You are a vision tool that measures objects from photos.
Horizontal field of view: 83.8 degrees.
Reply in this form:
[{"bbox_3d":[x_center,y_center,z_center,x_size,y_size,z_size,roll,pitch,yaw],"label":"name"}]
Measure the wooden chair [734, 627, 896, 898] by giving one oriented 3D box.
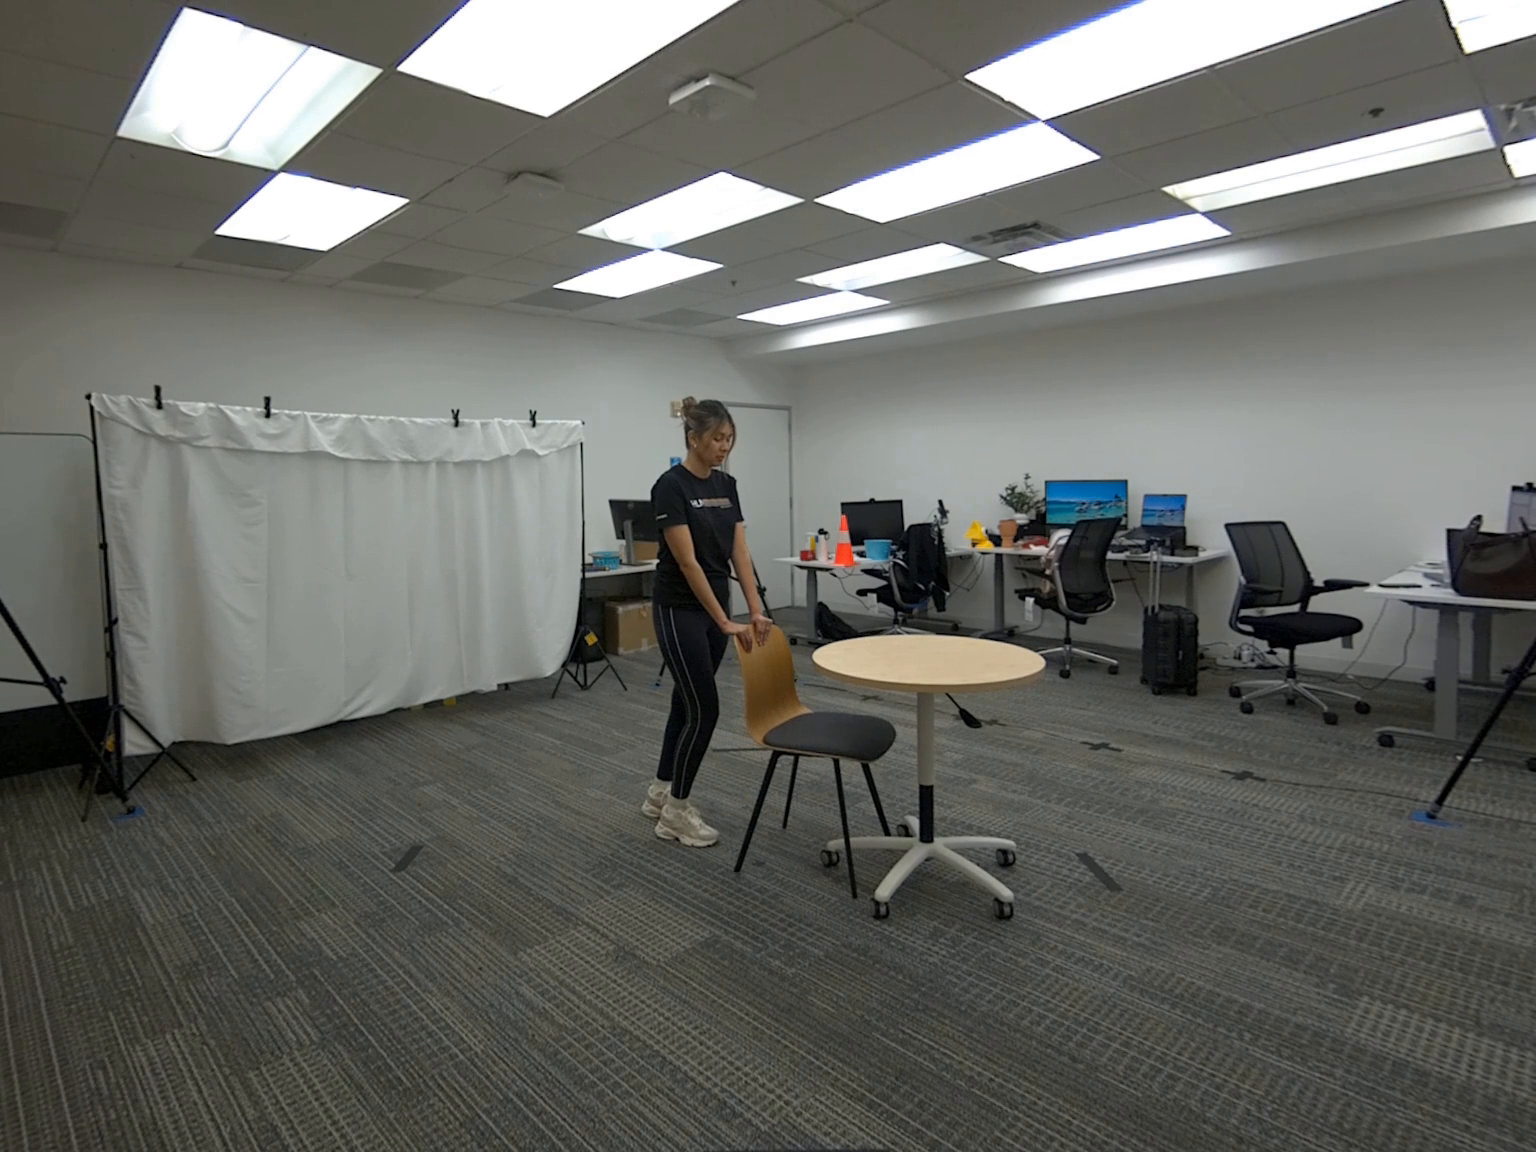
[{"bbox_3d":[0.177,0.614,3.101,0.535,0.876,0.468,-3,2,27],"label":"wooden chair"}]
